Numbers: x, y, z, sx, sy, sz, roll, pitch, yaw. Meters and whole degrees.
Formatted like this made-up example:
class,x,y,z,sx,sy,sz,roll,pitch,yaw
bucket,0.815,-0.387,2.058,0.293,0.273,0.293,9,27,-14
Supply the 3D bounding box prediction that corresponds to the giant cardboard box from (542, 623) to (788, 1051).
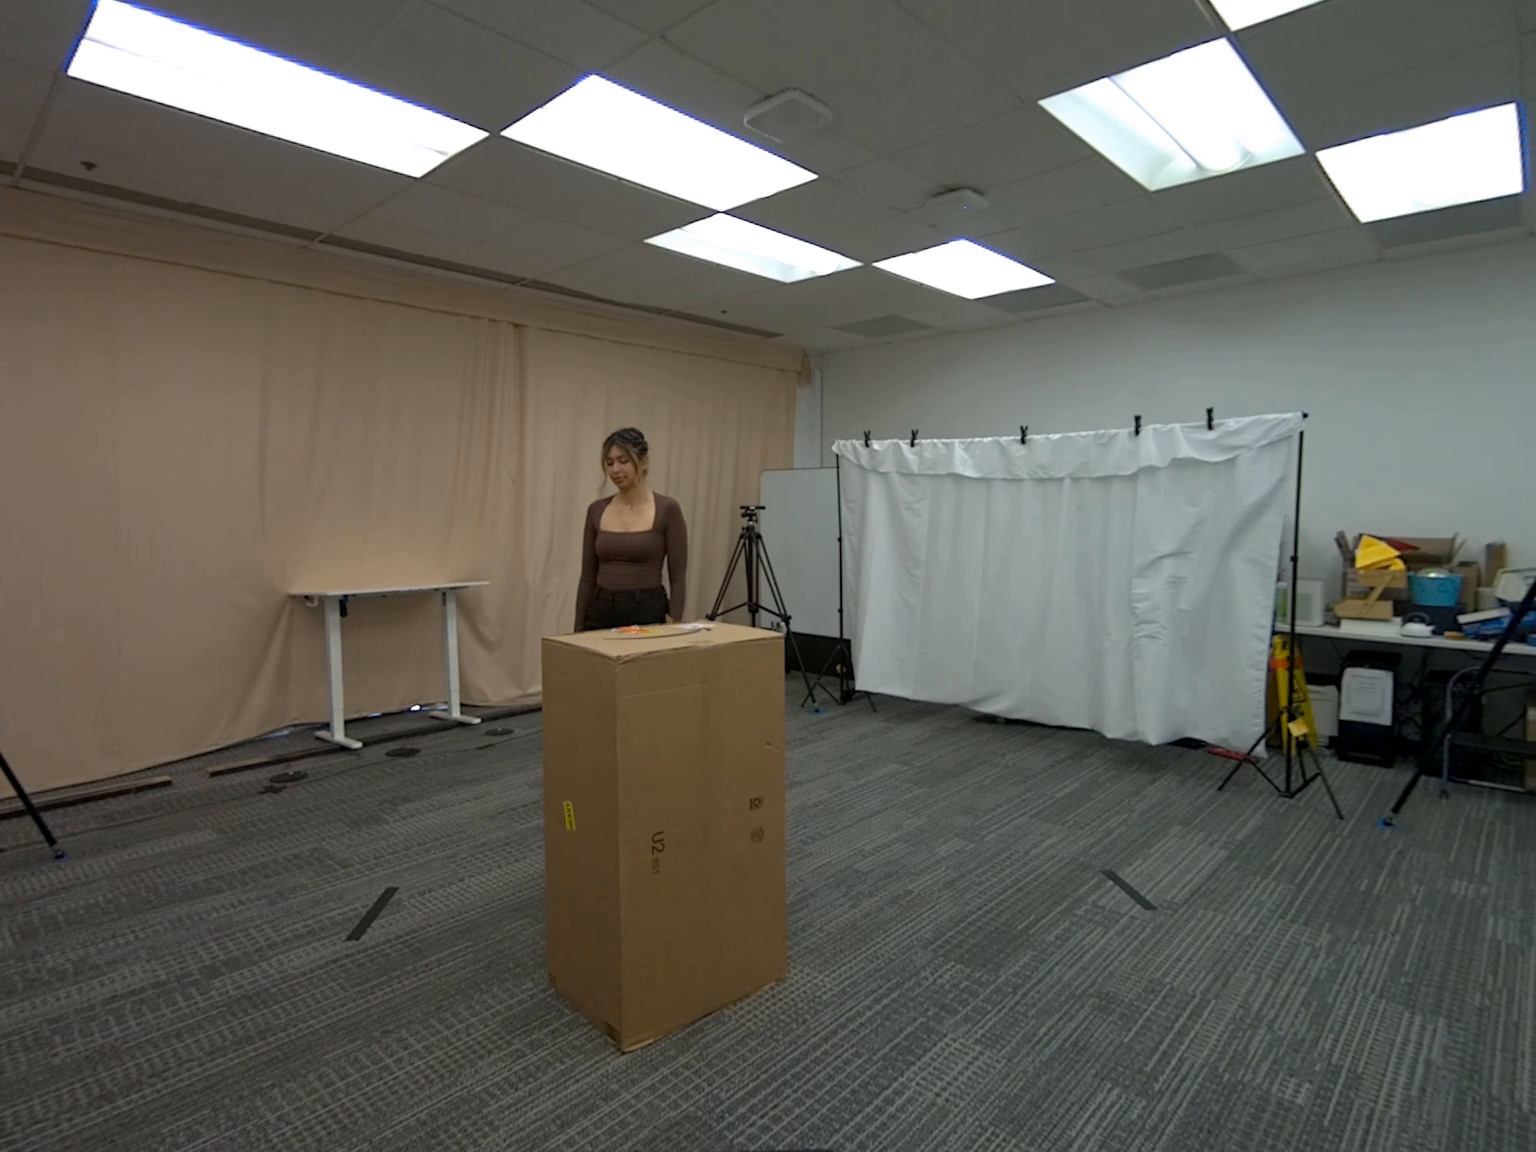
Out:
class,x,y,z,sx,sy,sz,roll,pitch,yaw
giant cardboard box,-0.293,0.681,2.453,0.566,1.025,0.461,-3,3,-39
